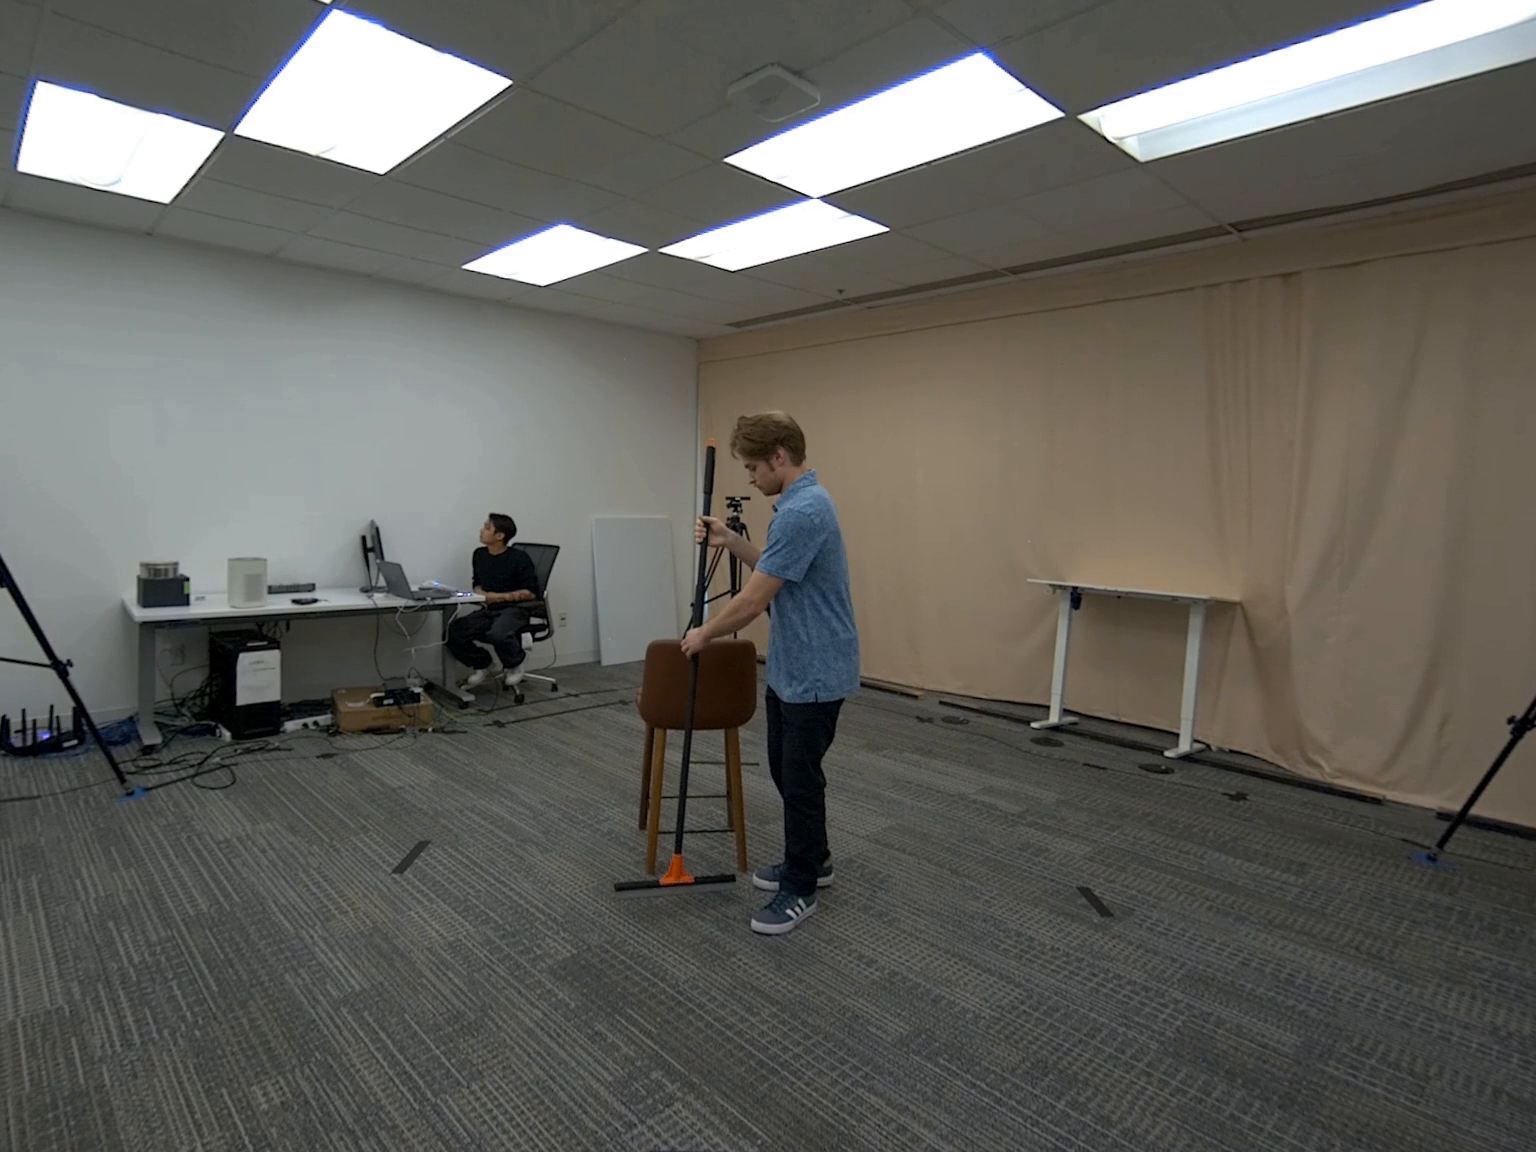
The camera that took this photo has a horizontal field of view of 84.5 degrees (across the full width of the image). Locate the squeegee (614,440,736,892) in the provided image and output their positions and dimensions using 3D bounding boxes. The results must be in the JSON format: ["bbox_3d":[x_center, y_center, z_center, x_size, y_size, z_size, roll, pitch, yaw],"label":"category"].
[{"bbox_3d":[-0.265,0.302,2.860,0.428,1.537,0.054,3,0,-30],"label":"squeegee"}]
